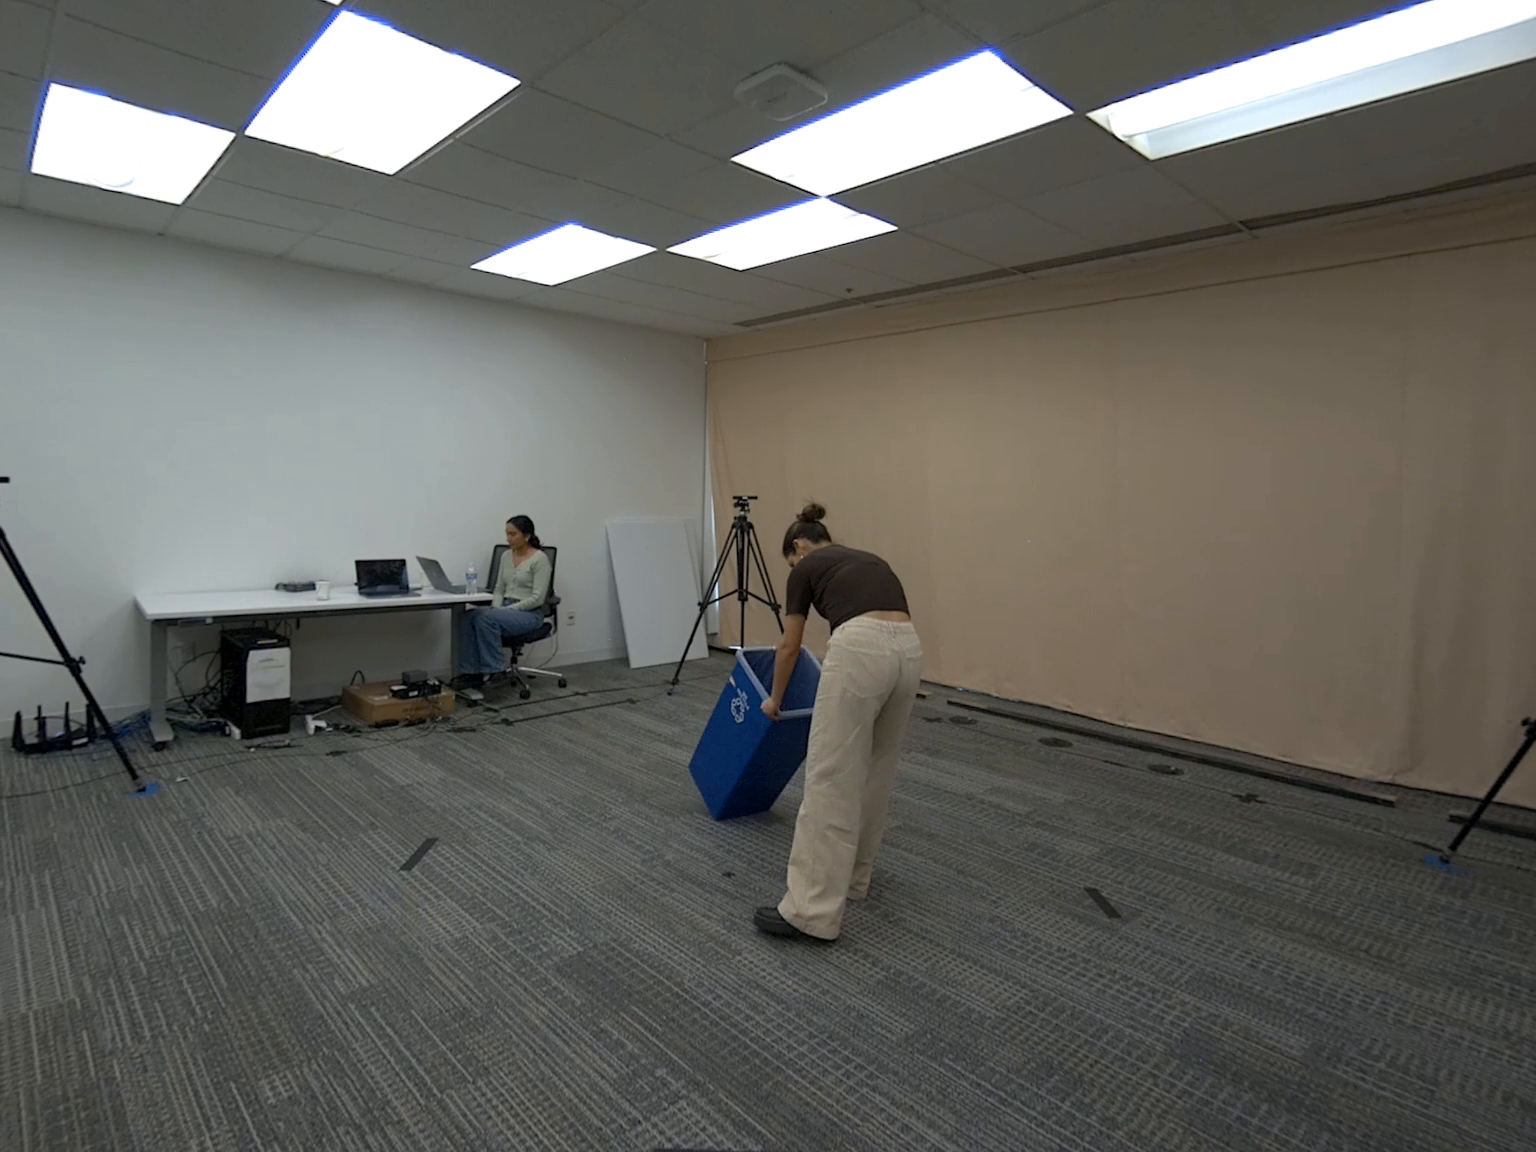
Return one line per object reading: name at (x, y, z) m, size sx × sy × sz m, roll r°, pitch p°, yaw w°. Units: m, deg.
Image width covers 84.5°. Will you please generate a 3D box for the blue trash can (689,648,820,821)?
blue trash can at (-0.040, 0.685, 3.587) m, size 0.370 × 0.707 × 0.386 m, roll -1°, pitch 39°, yaw -36°
